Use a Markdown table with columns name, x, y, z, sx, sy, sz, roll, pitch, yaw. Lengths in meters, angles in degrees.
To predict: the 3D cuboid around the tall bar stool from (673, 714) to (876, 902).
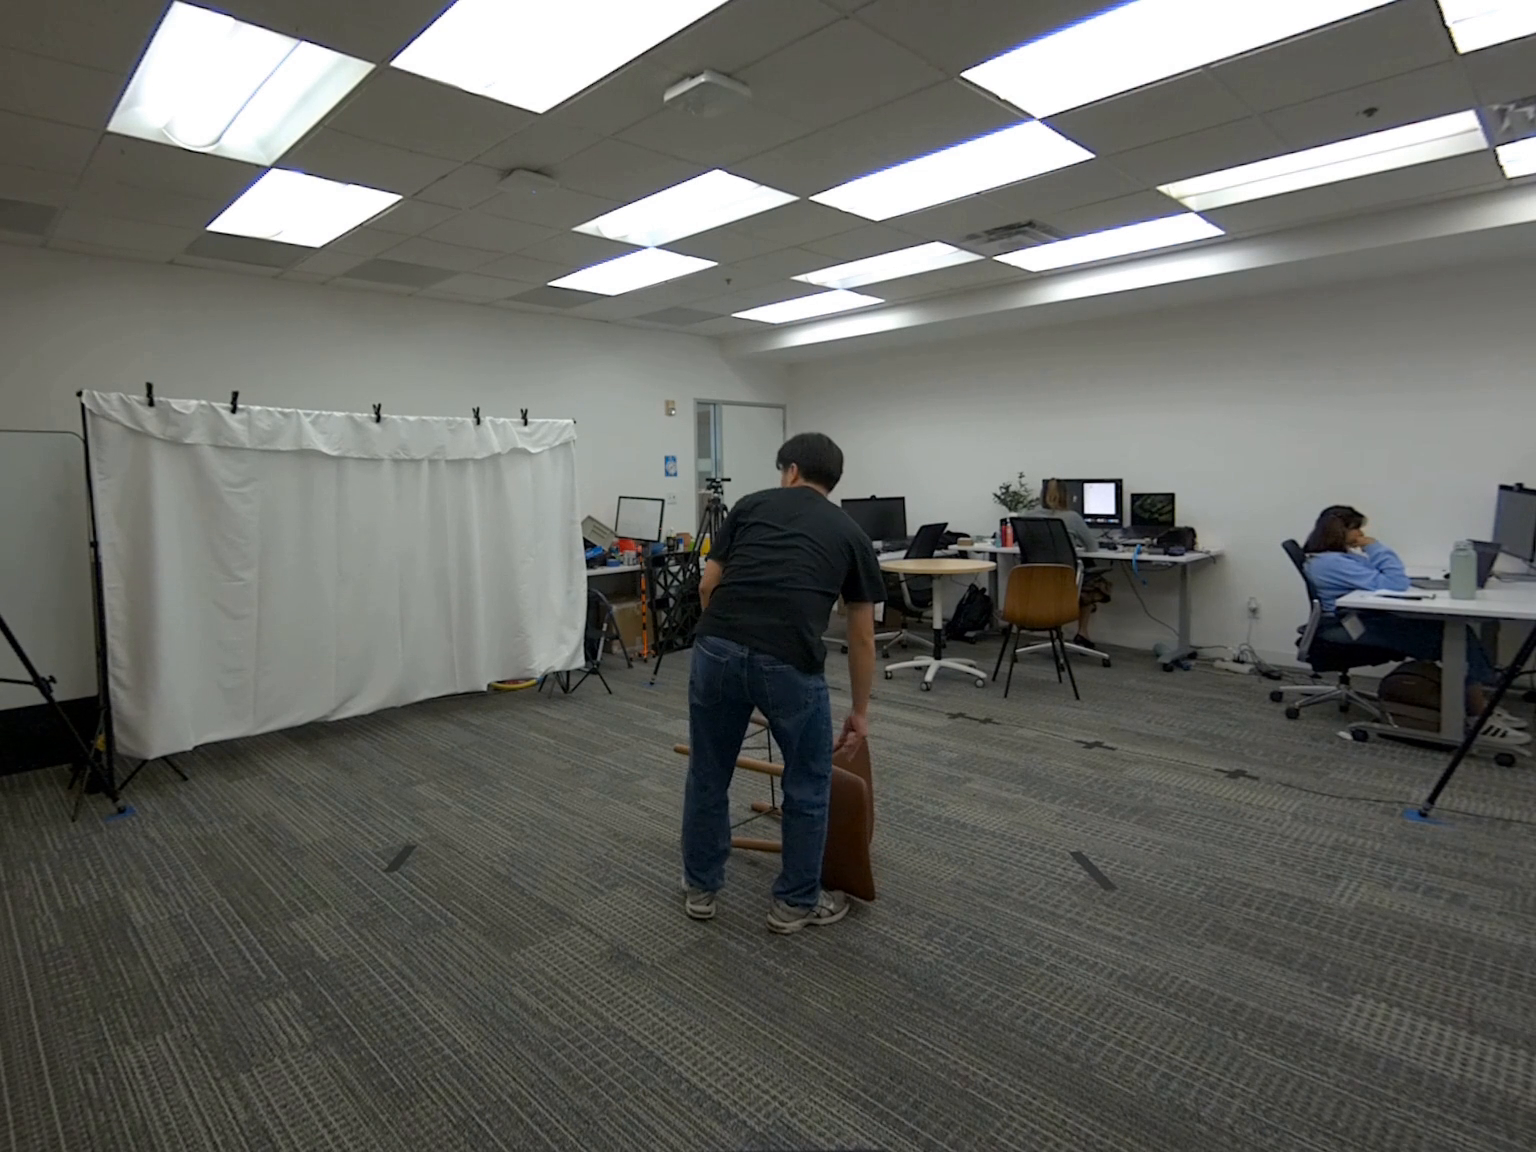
| name | x | y | z | sx | sy | sz | roll | pitch | yaw |
| --- | --- | --- | --- | --- | --- | --- | --- | --- | --- |
| tall bar stool | 0.127 | 0.814 | 3.154 | 0.916 | 0.455 | 0.456 | 1 | 6 | 42 |
